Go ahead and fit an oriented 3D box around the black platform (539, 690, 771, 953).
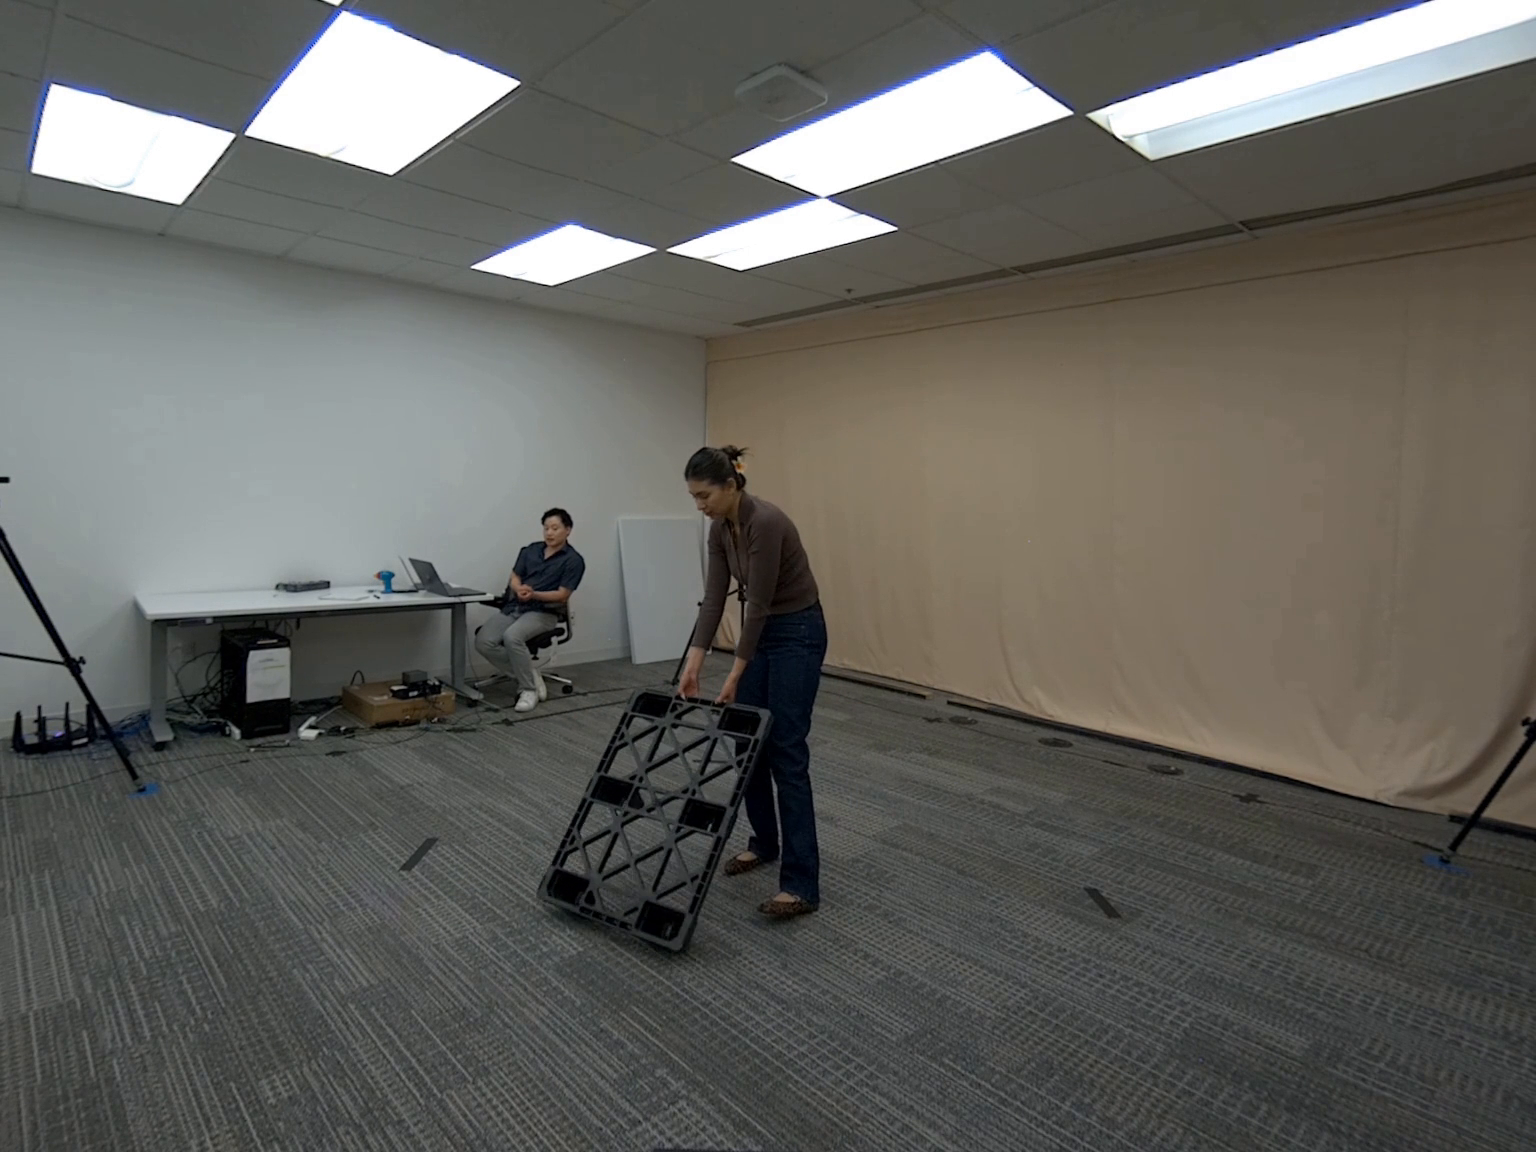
[{"bbox_3d":[-0.356,0.795,2.857,0.618,0.813,0.139,3,-35,31],"label":"black platform"}]
